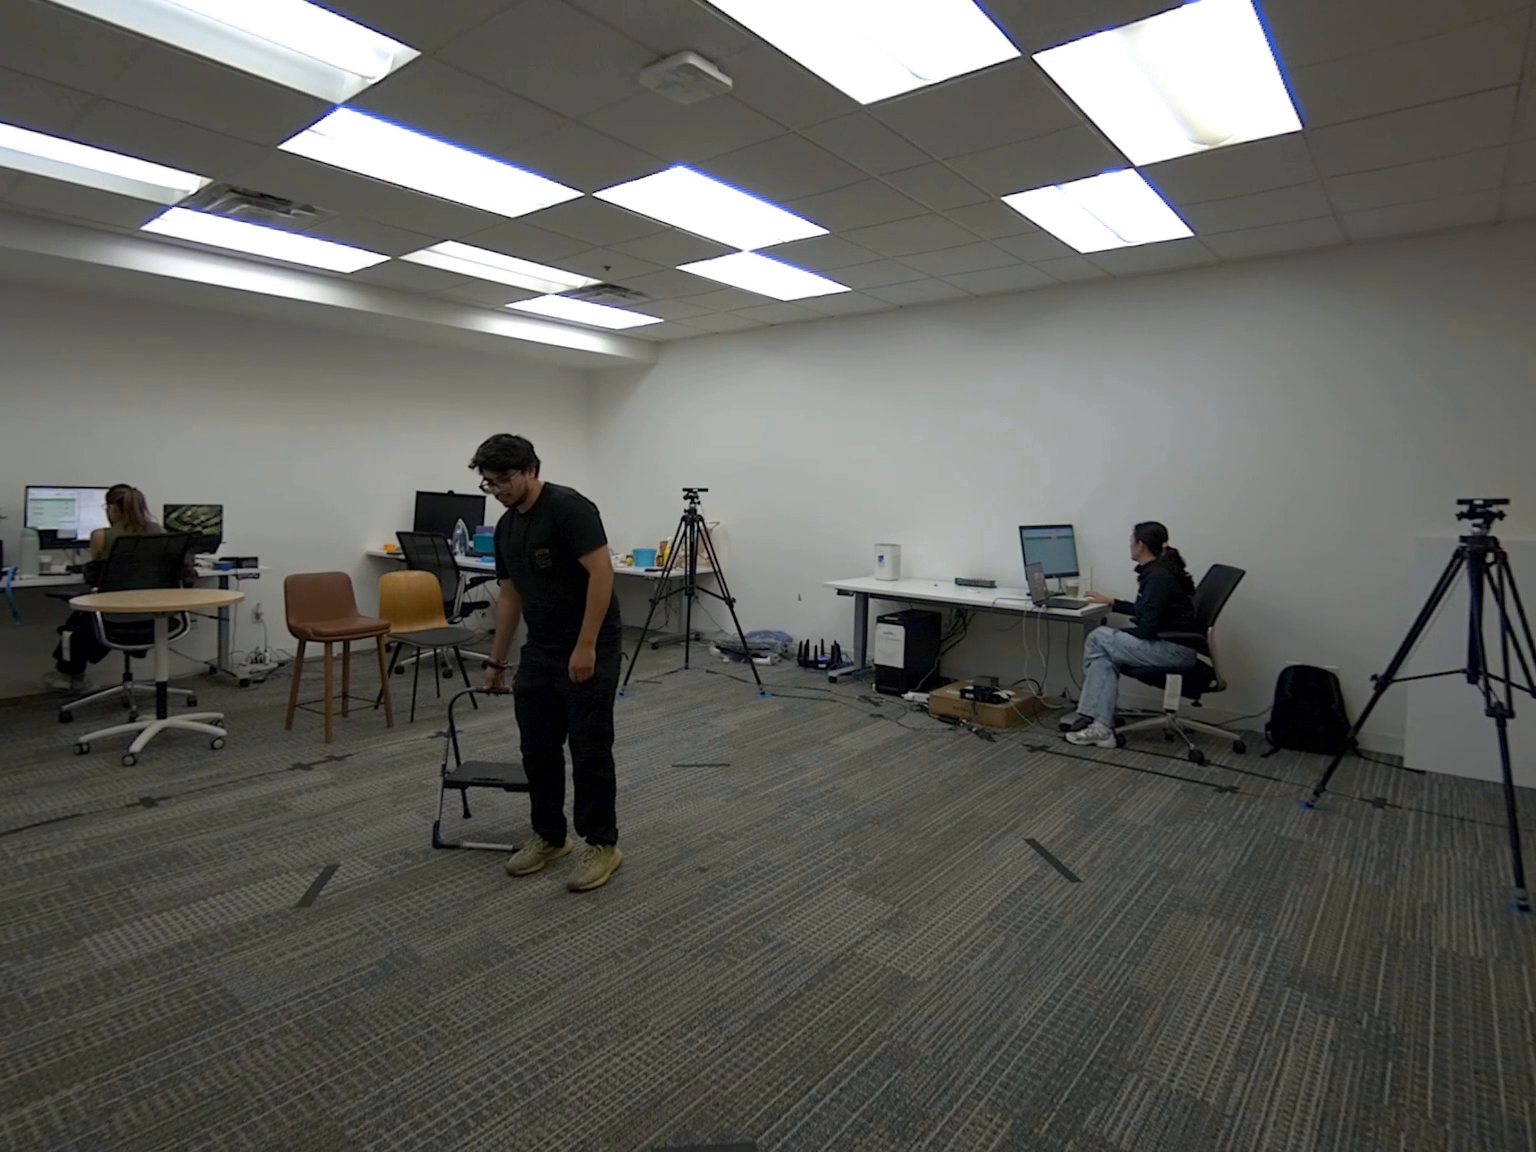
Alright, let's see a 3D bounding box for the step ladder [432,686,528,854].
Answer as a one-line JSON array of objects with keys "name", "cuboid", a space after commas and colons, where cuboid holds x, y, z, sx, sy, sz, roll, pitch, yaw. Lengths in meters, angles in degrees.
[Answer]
[{"name": "step ladder", "cuboid": [-1.088, 0.727, 3.386, 0.433, 0.605, 0.348, 1, 3, 4]}]
